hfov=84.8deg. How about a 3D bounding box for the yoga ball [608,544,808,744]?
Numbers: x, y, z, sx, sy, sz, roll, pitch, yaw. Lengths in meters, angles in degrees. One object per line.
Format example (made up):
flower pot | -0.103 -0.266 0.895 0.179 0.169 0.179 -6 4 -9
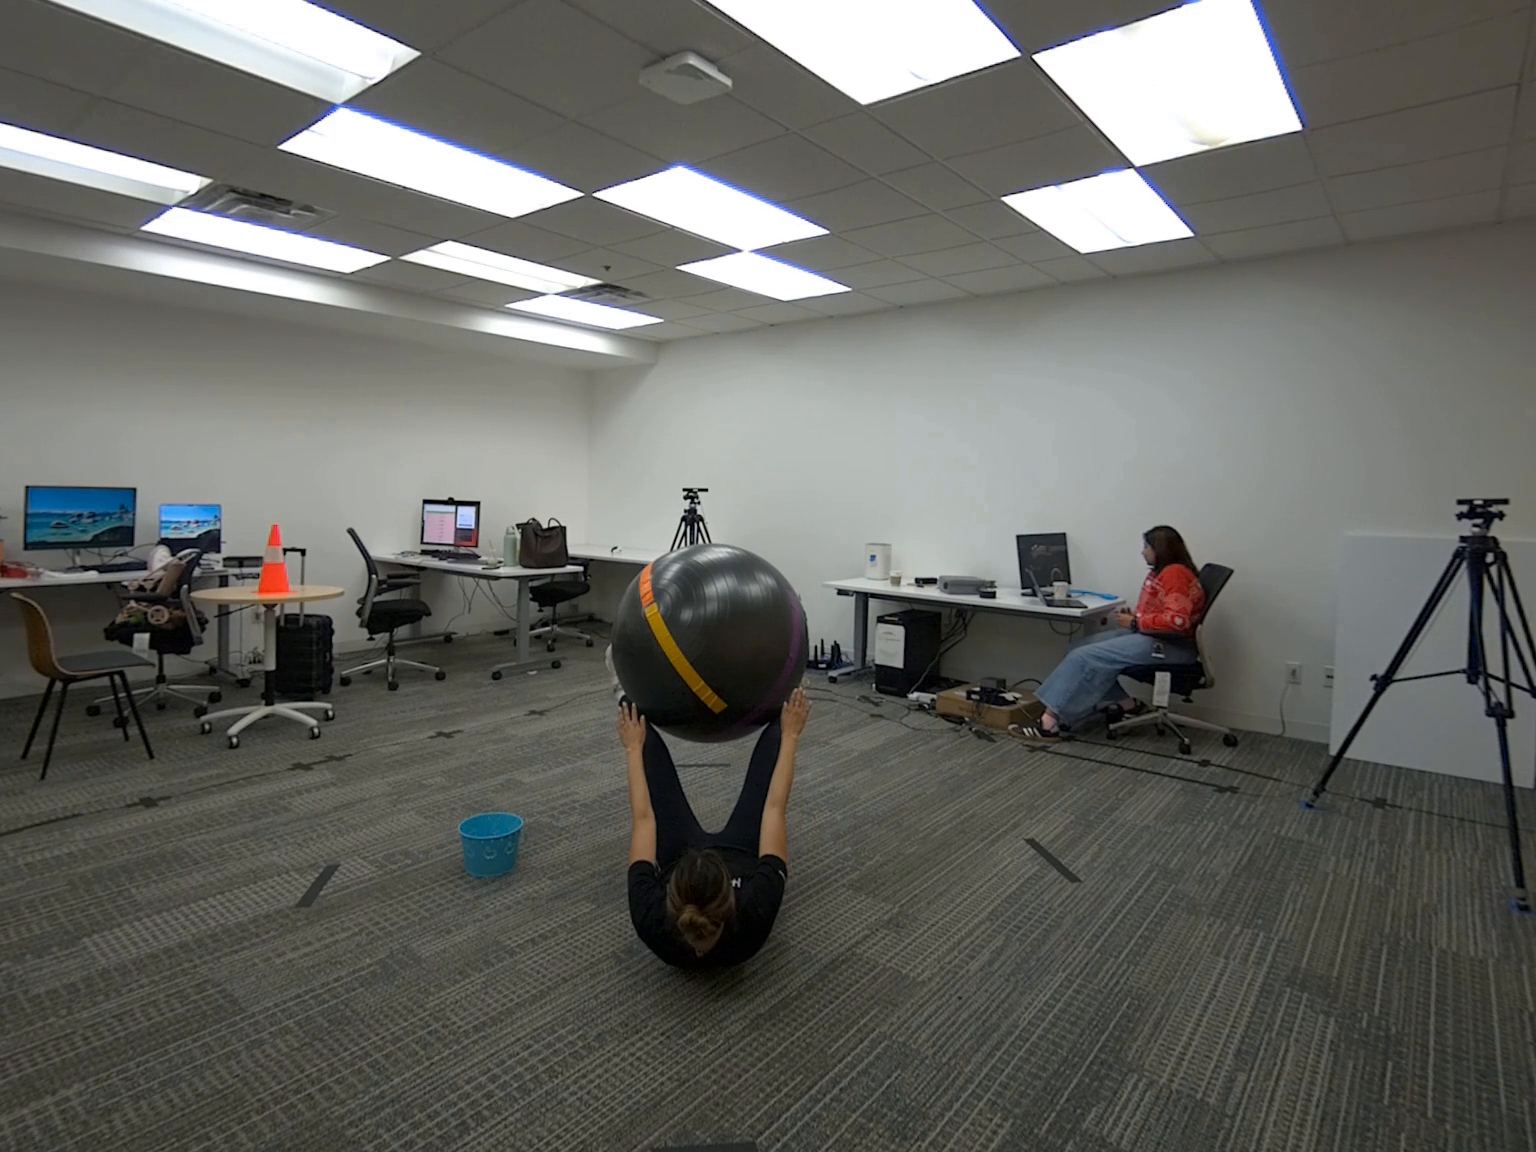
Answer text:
yoga ball | -0.225 0.256 3.260 0.757 0.756 0.762 1 4 -2
